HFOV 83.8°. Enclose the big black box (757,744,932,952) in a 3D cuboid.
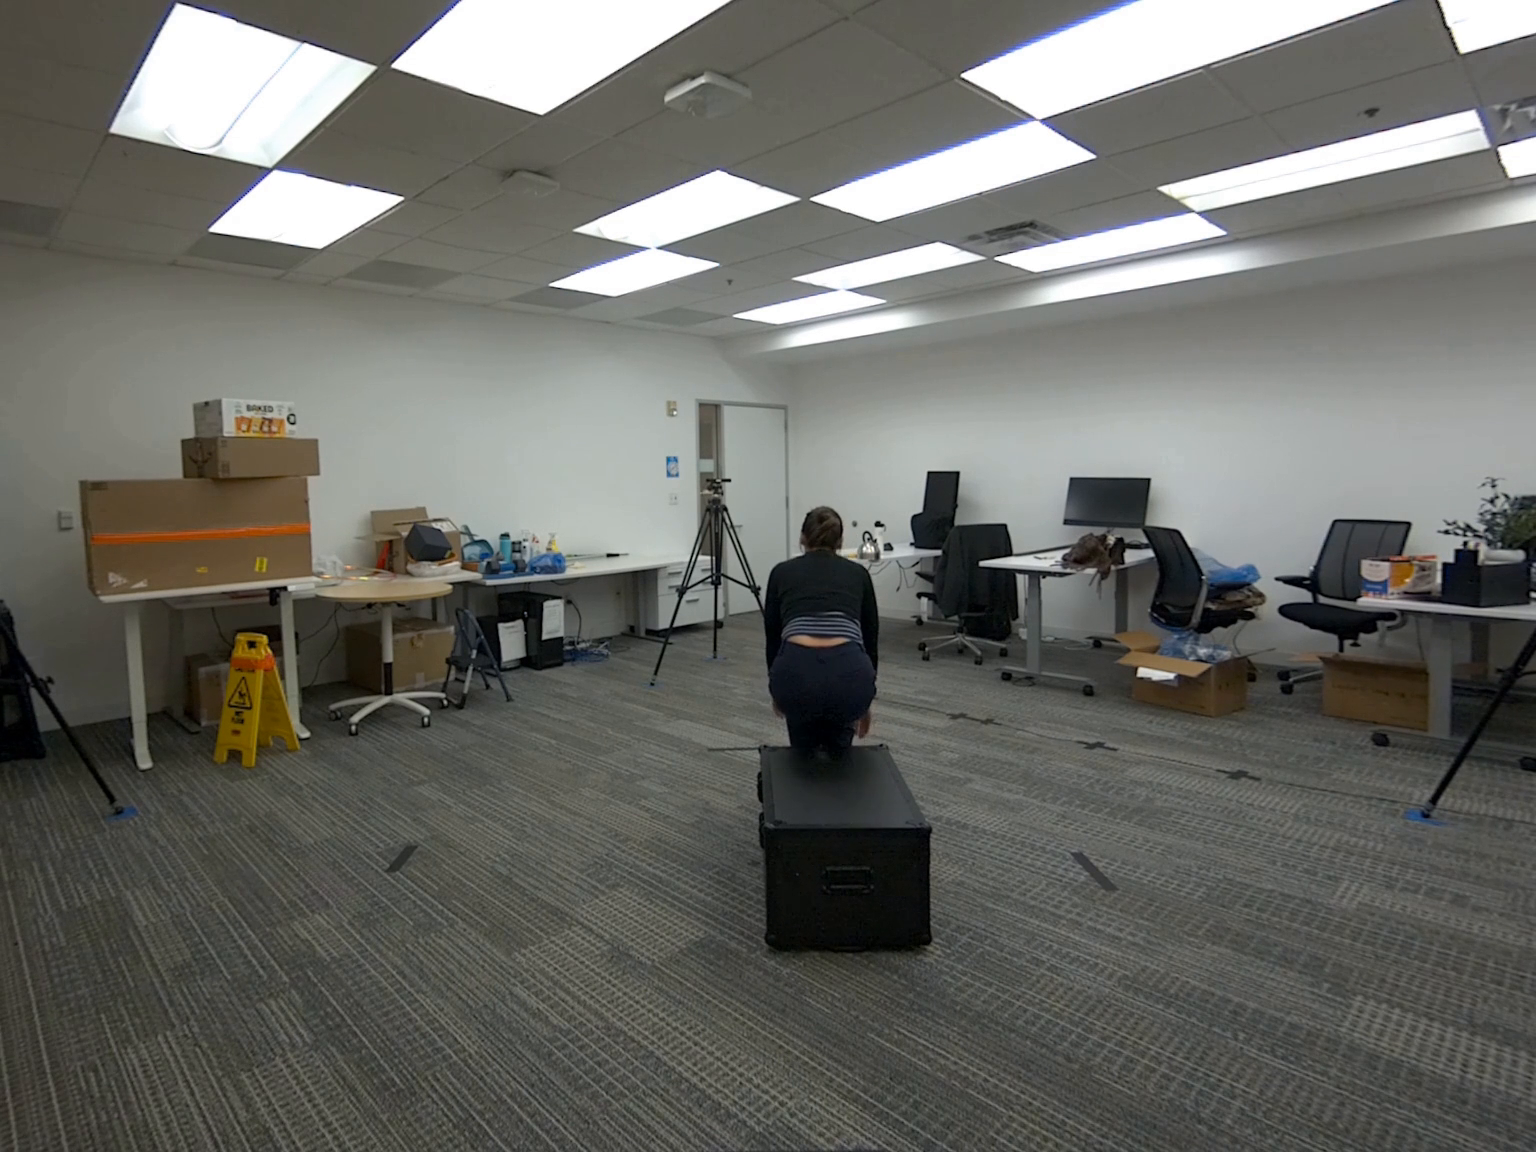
[{"bbox_3d":[0.227,0.871,2.908,0.521,0.394,0.865,-1,6,-1],"label":"big black box"}]
